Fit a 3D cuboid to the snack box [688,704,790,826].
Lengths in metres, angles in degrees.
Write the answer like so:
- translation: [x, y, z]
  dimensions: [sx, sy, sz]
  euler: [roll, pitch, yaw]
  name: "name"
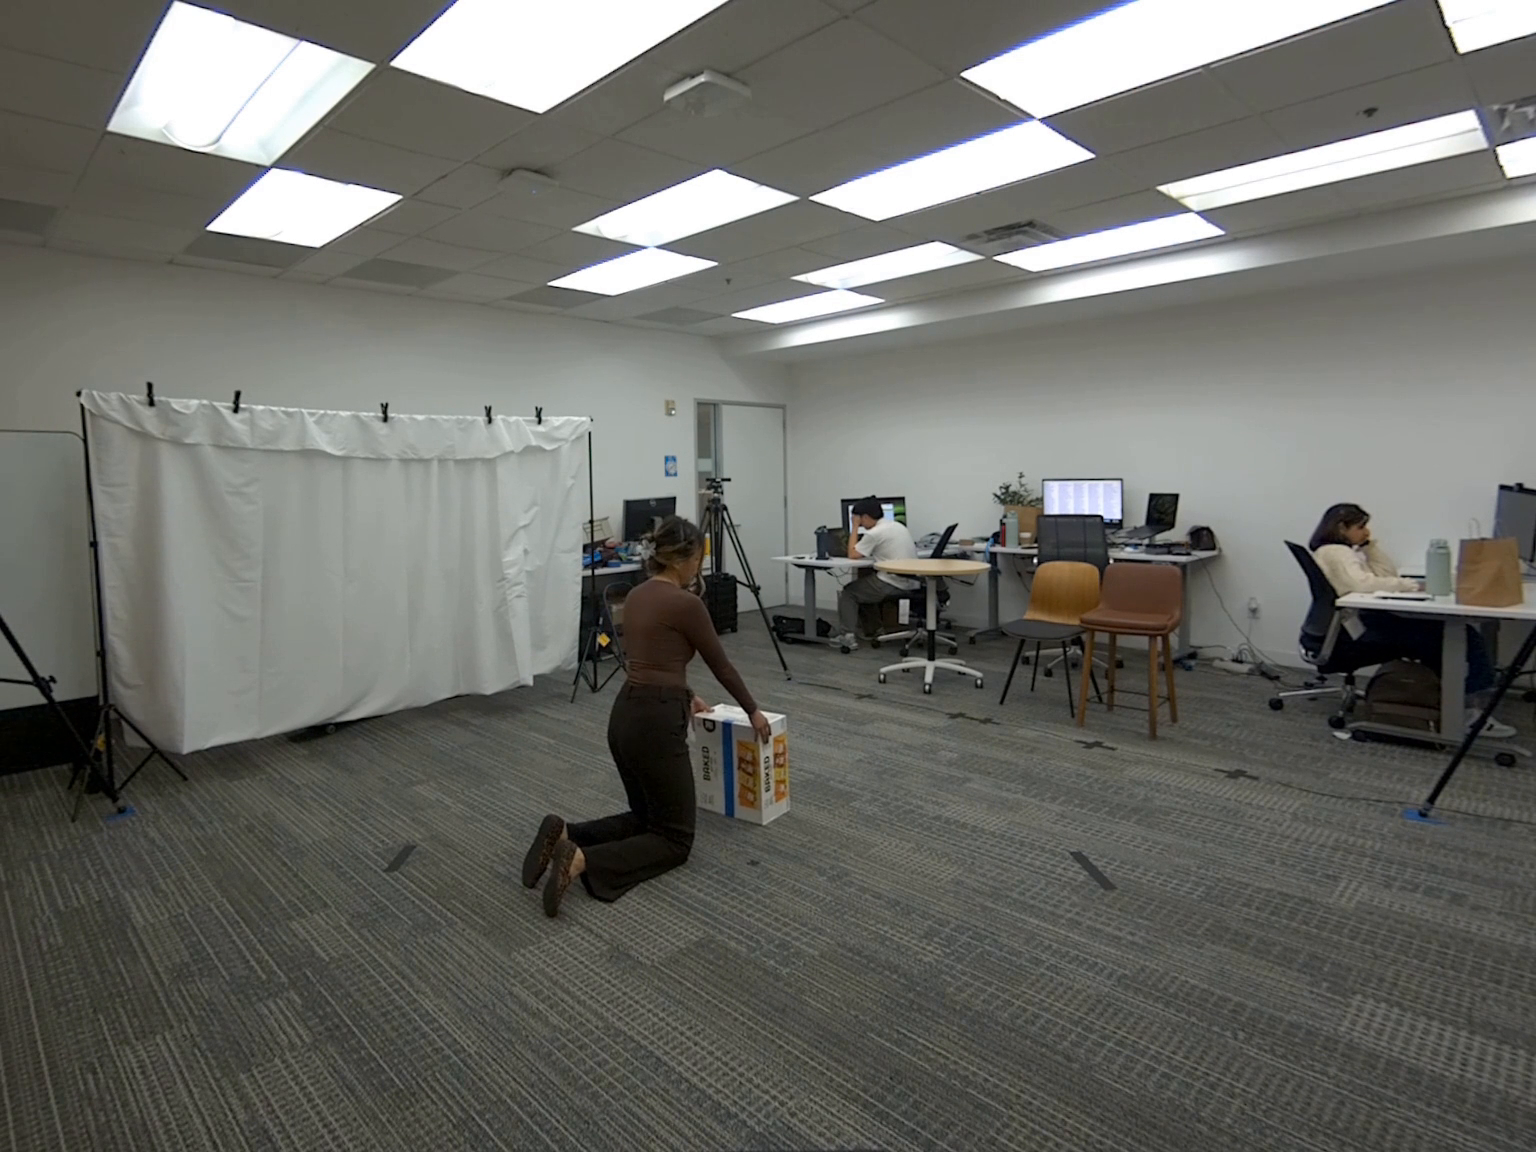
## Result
- translation: [-0.112, 0.783, 3.599]
  dimensions: [0.350, 0.403, 0.201]
  euler: [2, 6, 36]
  name: "snack box"
